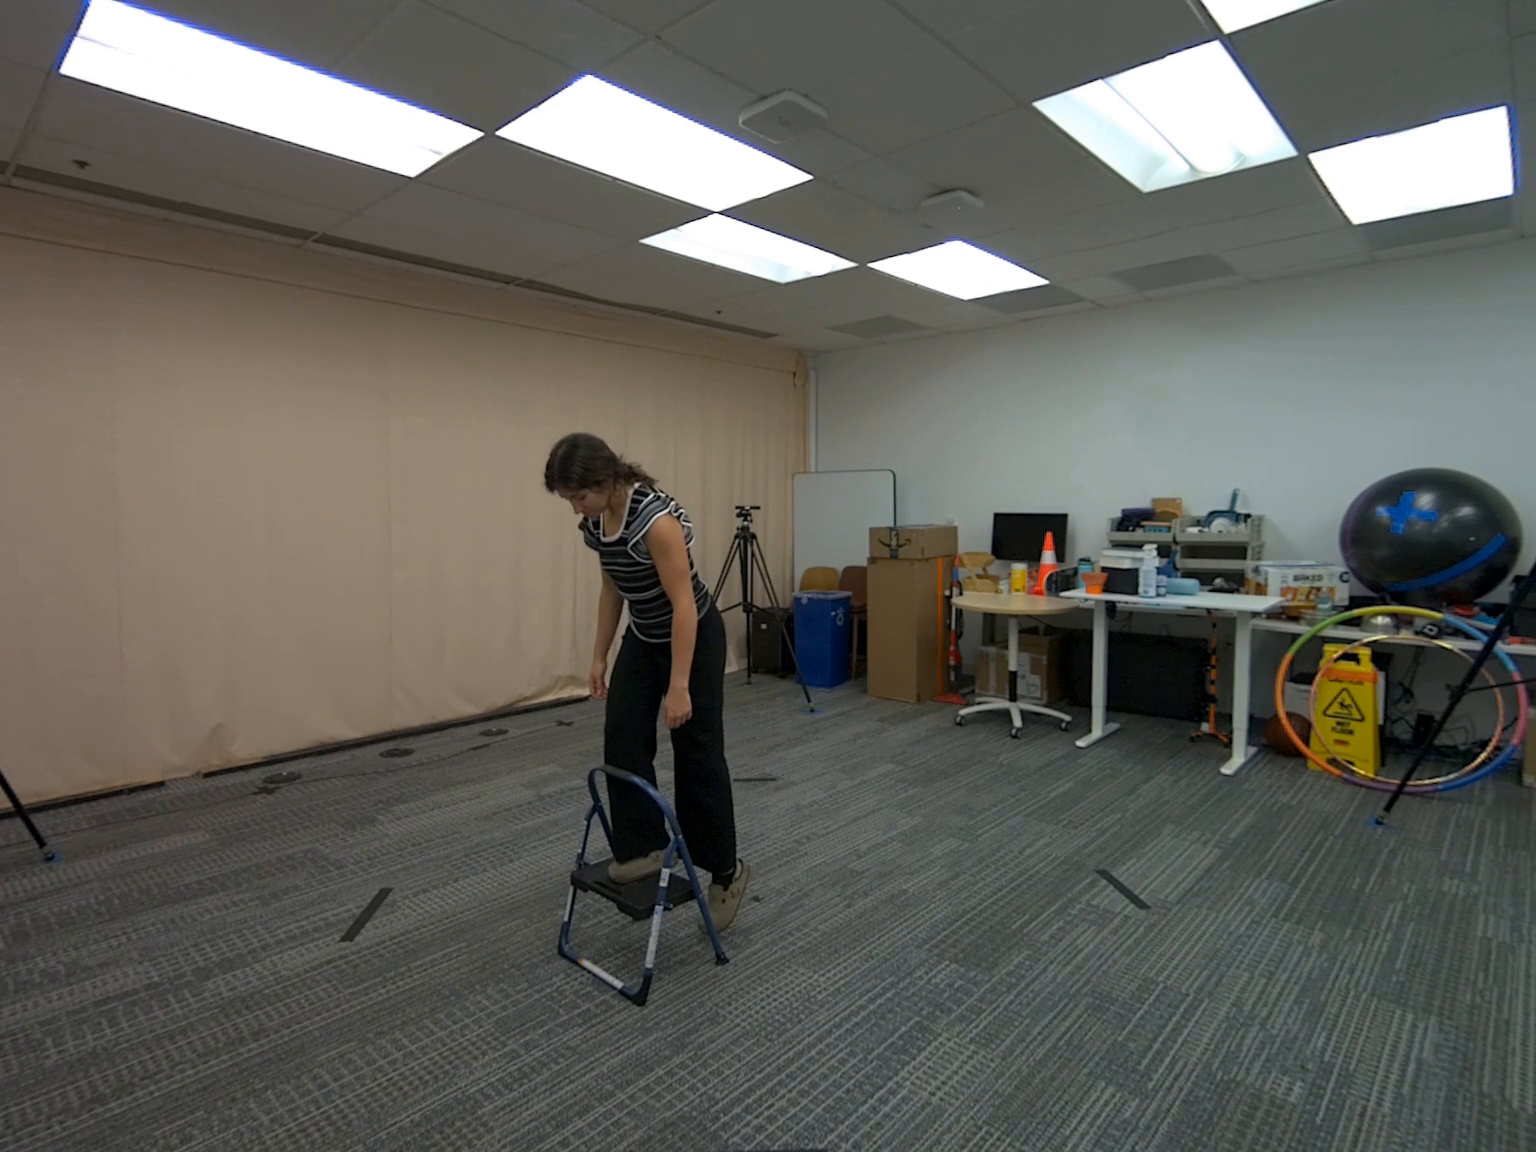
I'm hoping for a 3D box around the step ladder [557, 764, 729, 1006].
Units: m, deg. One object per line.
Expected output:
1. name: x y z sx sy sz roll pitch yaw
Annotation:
1. step ladder: -0.394 0.879 2.586 0.445 0.605 0.338 2 4 43
